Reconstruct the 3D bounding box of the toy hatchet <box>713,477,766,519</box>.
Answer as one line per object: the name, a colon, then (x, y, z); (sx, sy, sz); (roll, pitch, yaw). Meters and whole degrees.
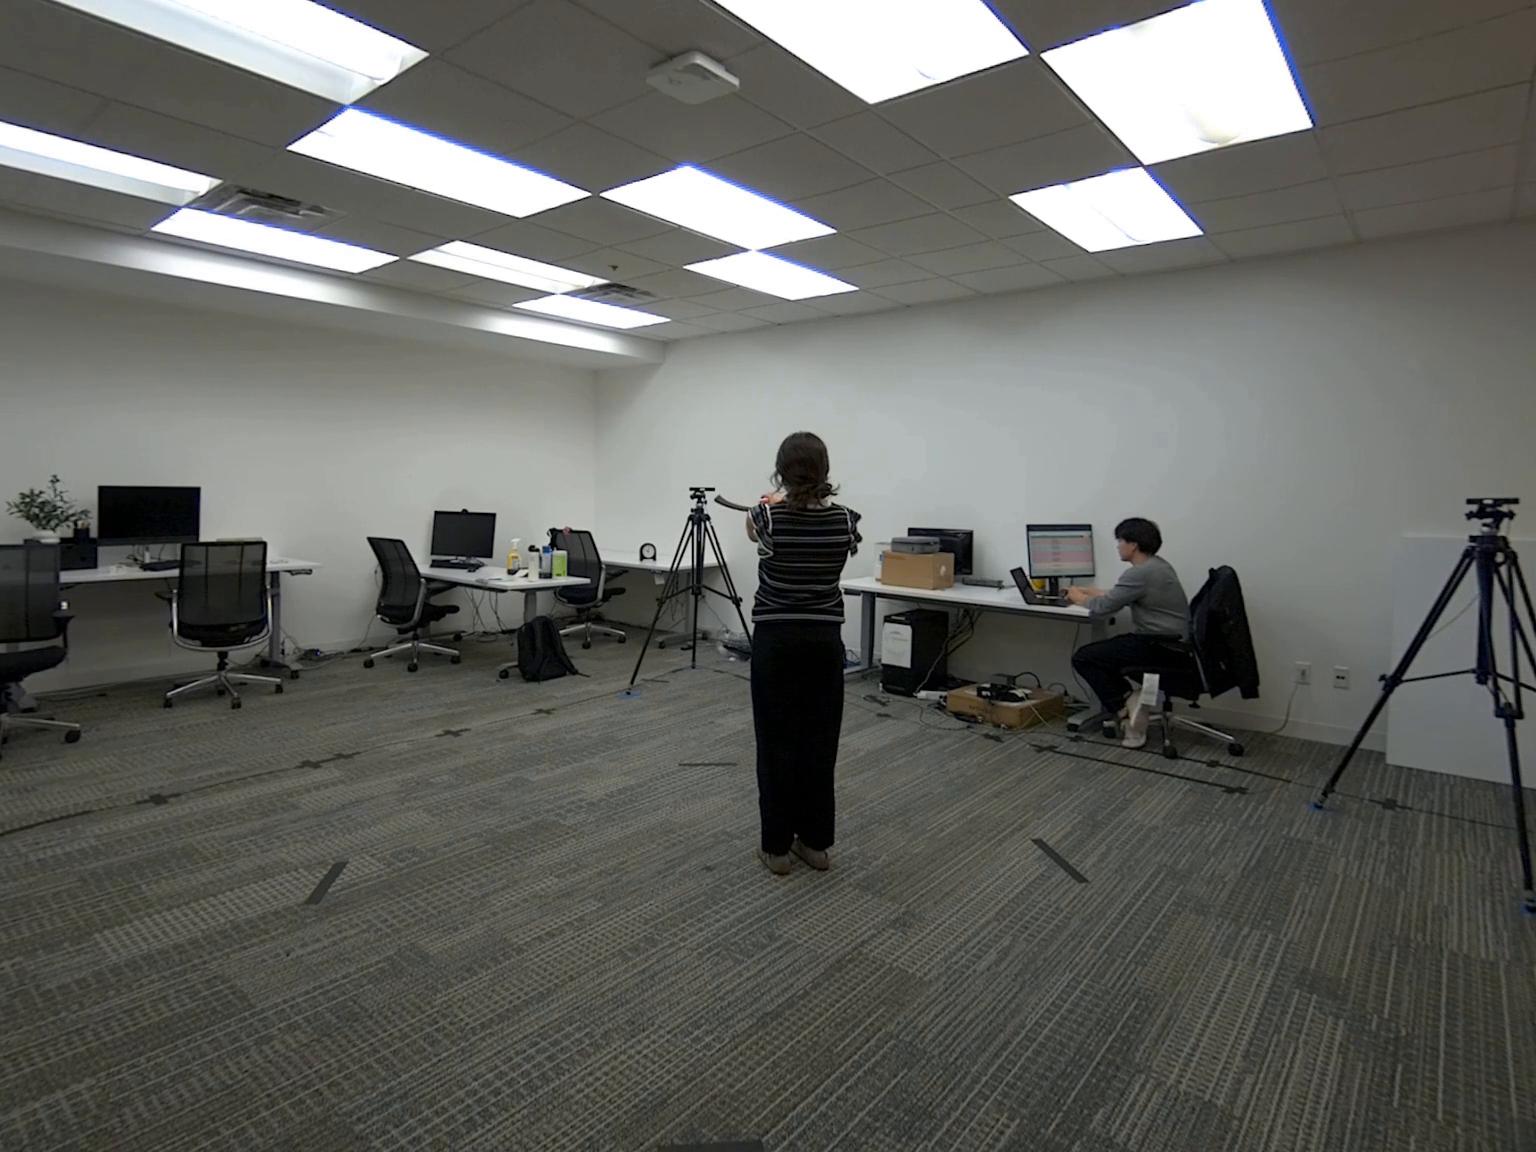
toy hatchet: (-0.090, -0.323, 3.675); (0.275, 0.132, 0.029); (25, -27, 14)
